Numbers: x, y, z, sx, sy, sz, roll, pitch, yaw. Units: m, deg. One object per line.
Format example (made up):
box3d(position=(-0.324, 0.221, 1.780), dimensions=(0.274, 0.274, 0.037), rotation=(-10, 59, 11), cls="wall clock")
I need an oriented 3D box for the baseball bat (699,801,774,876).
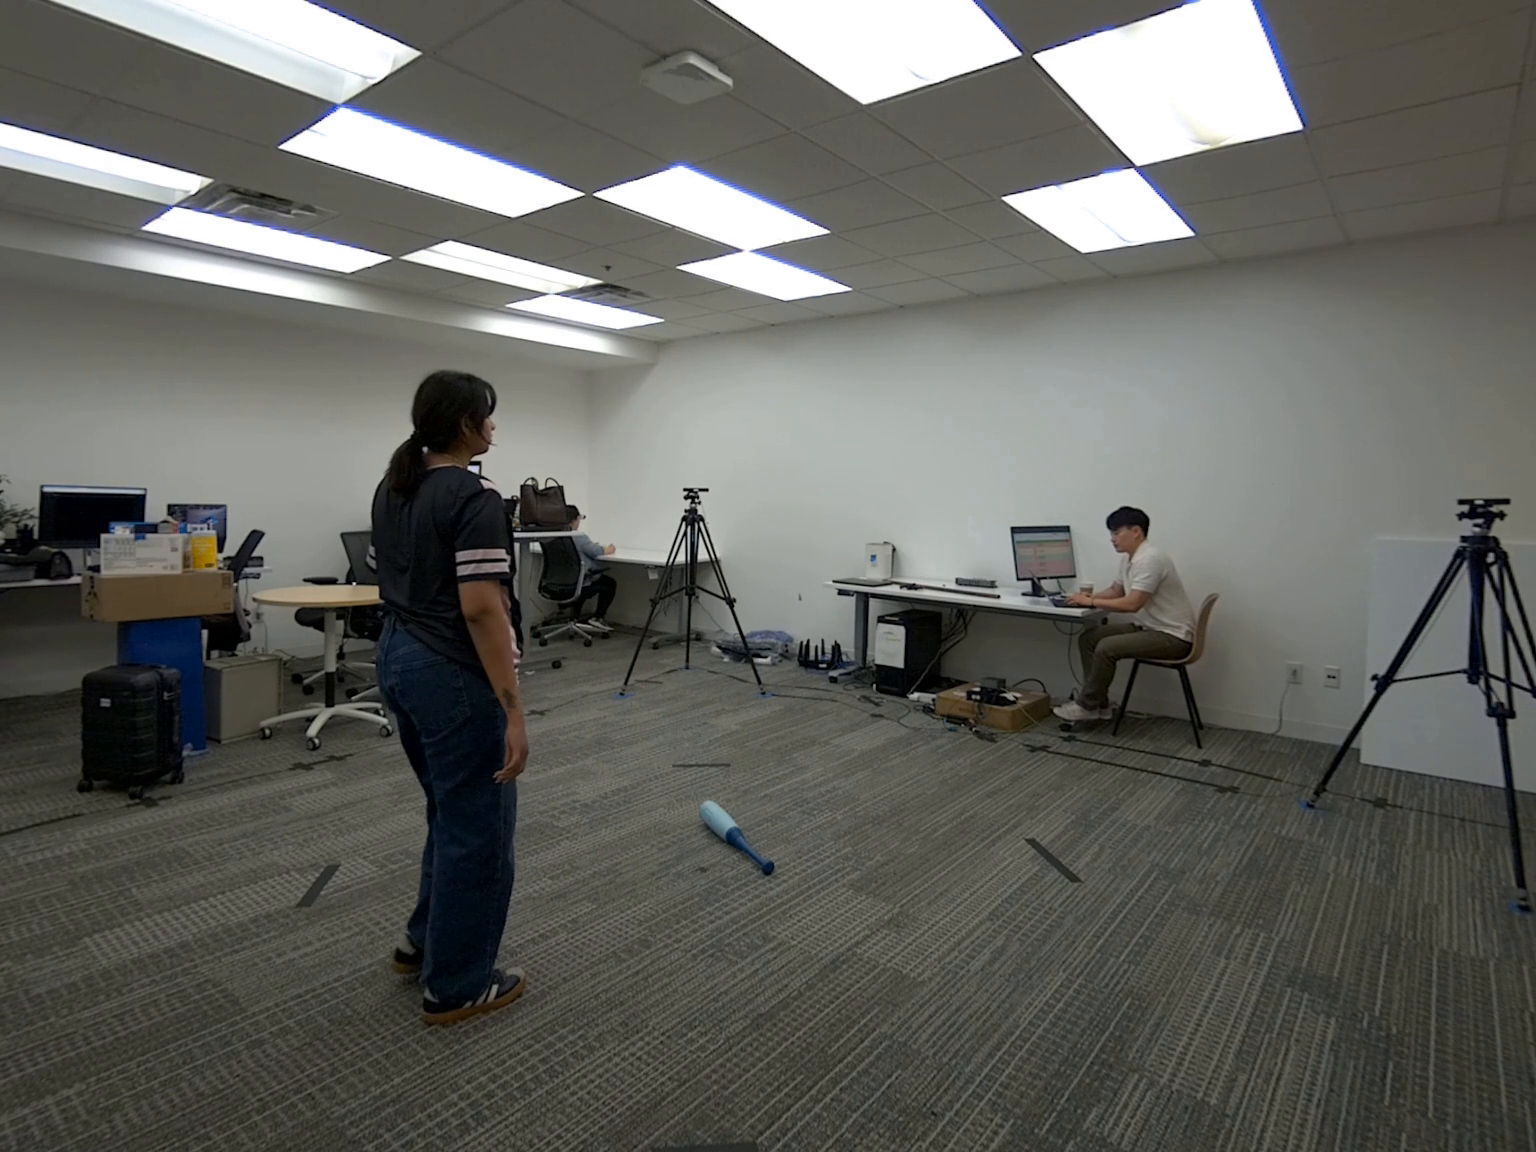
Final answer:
box3d(position=(-0.138, 1.018, 3.312), dimensions=(0.087, 0.088, 0.560), rotation=(-1, 10, -28), cls="baseball bat")
